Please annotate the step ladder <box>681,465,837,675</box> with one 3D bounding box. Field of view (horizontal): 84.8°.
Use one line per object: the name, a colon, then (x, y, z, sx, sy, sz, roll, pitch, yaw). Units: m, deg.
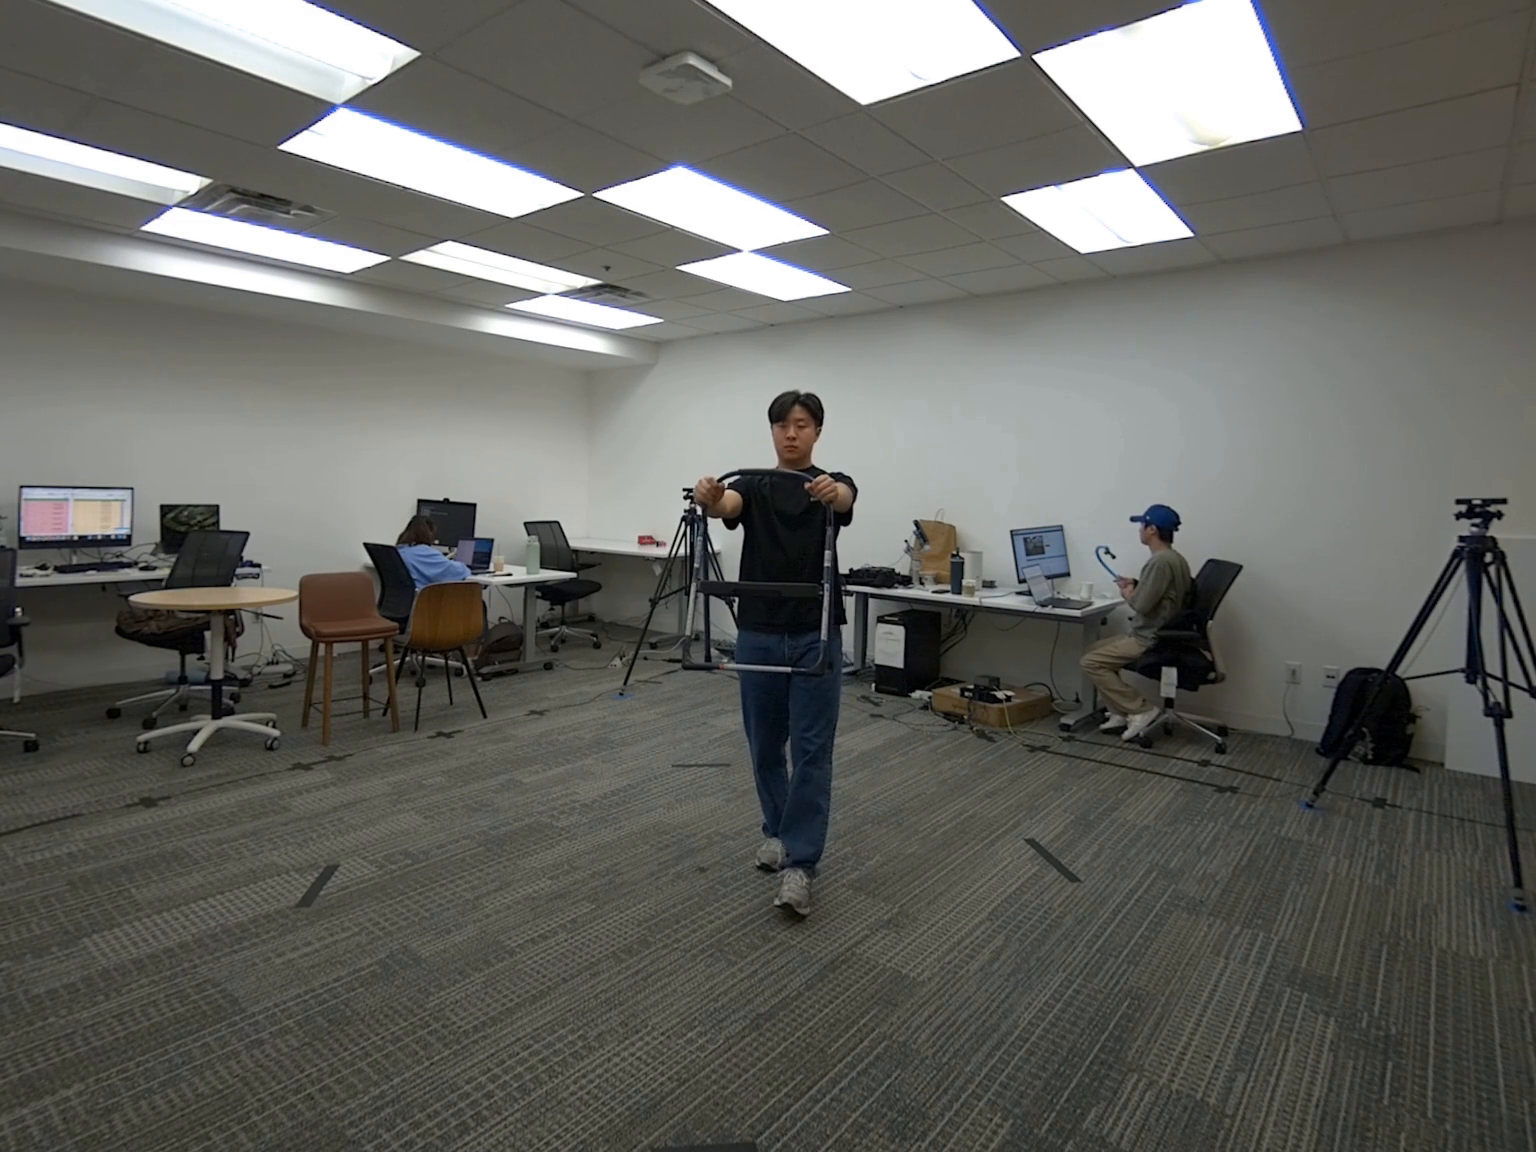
step ladder: (-0.013, -0.019, 2.600, 0.435, 0.607, 0.345, 1, -2, 8)
